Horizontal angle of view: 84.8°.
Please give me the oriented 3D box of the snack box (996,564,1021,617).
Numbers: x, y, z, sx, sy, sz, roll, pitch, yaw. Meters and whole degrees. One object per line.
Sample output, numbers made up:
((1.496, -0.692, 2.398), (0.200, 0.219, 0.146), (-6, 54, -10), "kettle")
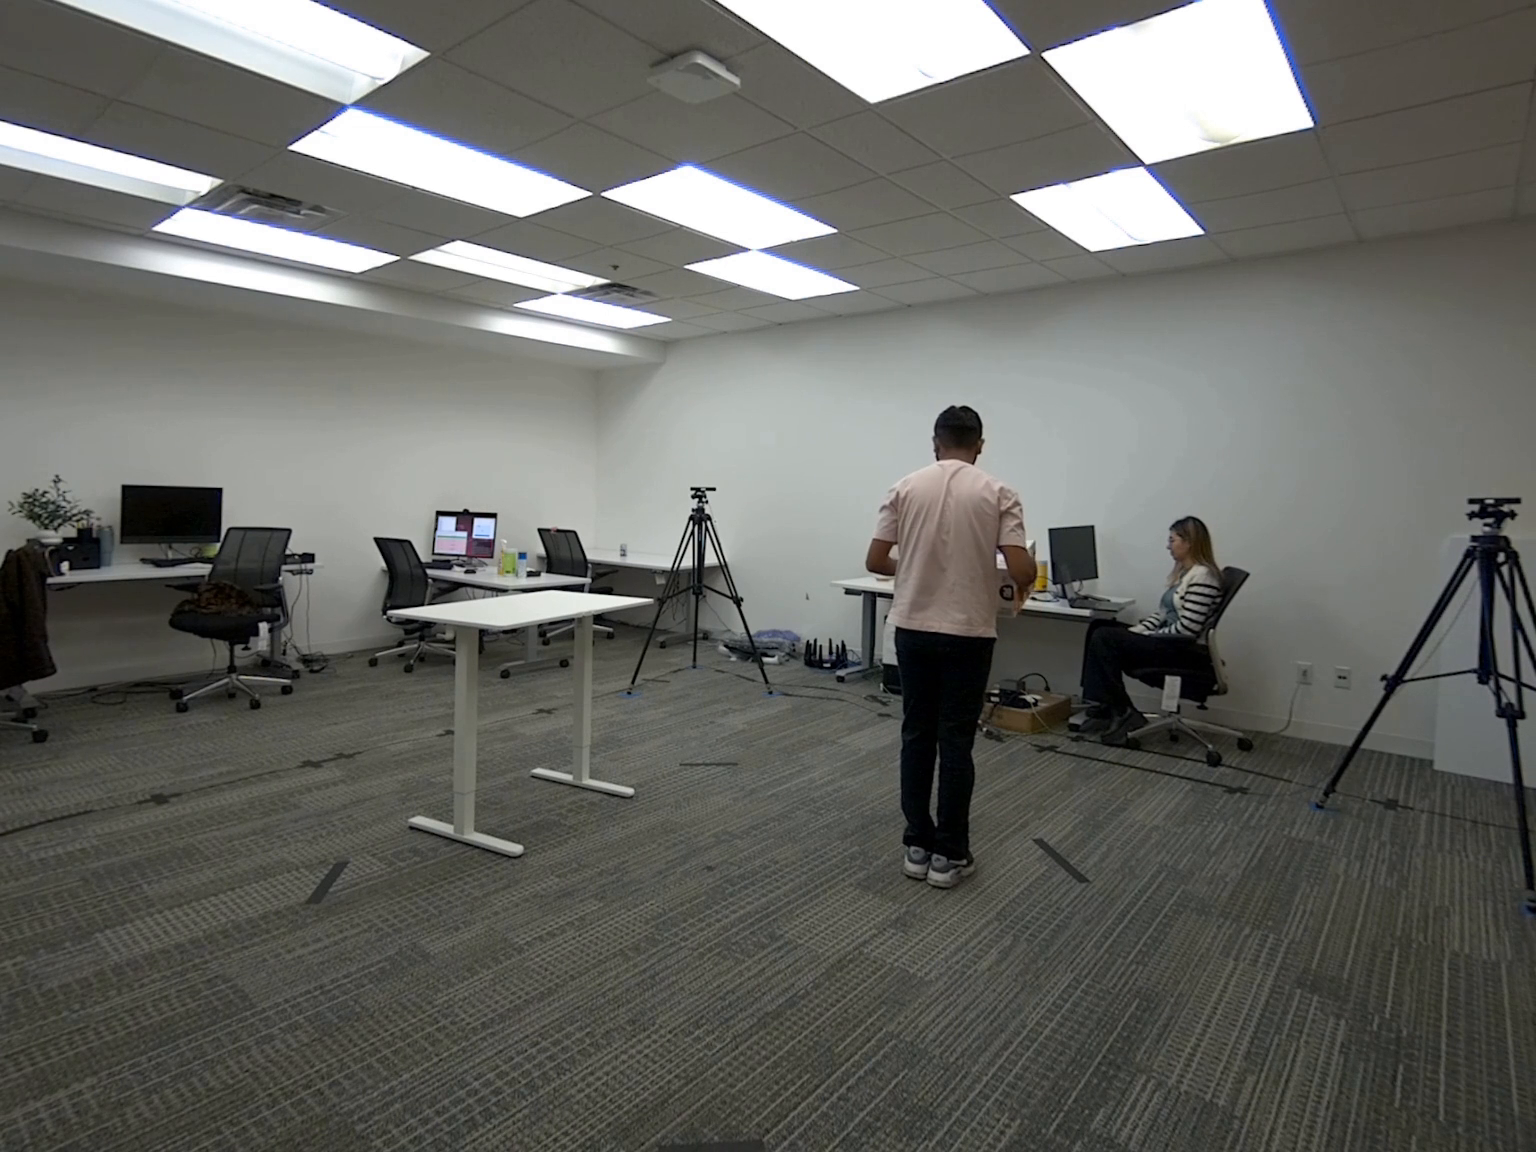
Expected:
((0.800, -0.013, 3.376), (0.418, 0.202, 0.336), (6, 22, 30), "snack box")
